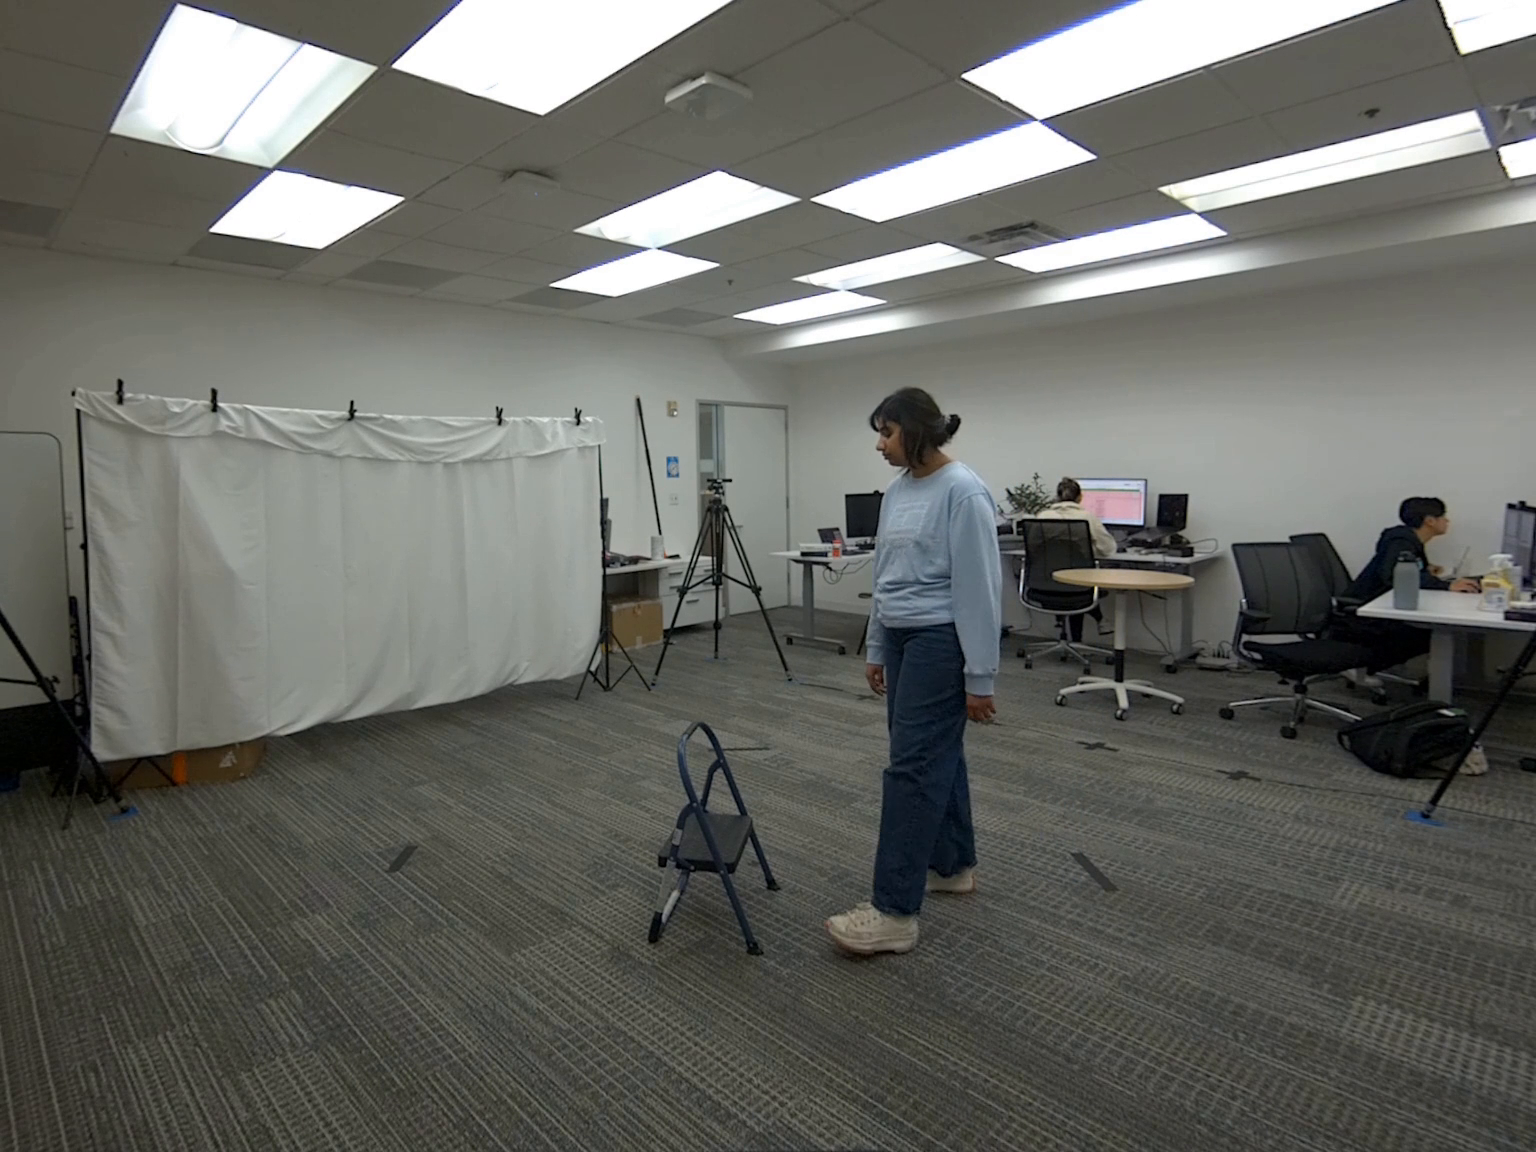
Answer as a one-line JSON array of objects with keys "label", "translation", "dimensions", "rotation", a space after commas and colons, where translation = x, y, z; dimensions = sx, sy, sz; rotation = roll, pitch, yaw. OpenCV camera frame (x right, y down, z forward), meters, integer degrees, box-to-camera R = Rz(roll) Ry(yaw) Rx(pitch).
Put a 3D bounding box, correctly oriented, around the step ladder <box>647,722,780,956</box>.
[{"label": "step ladder", "translation": [-0.165, 0.790, 2.729], "dimensions": [0.353, 0.604, 0.428], "rotation": [0, 5, 10]}]
